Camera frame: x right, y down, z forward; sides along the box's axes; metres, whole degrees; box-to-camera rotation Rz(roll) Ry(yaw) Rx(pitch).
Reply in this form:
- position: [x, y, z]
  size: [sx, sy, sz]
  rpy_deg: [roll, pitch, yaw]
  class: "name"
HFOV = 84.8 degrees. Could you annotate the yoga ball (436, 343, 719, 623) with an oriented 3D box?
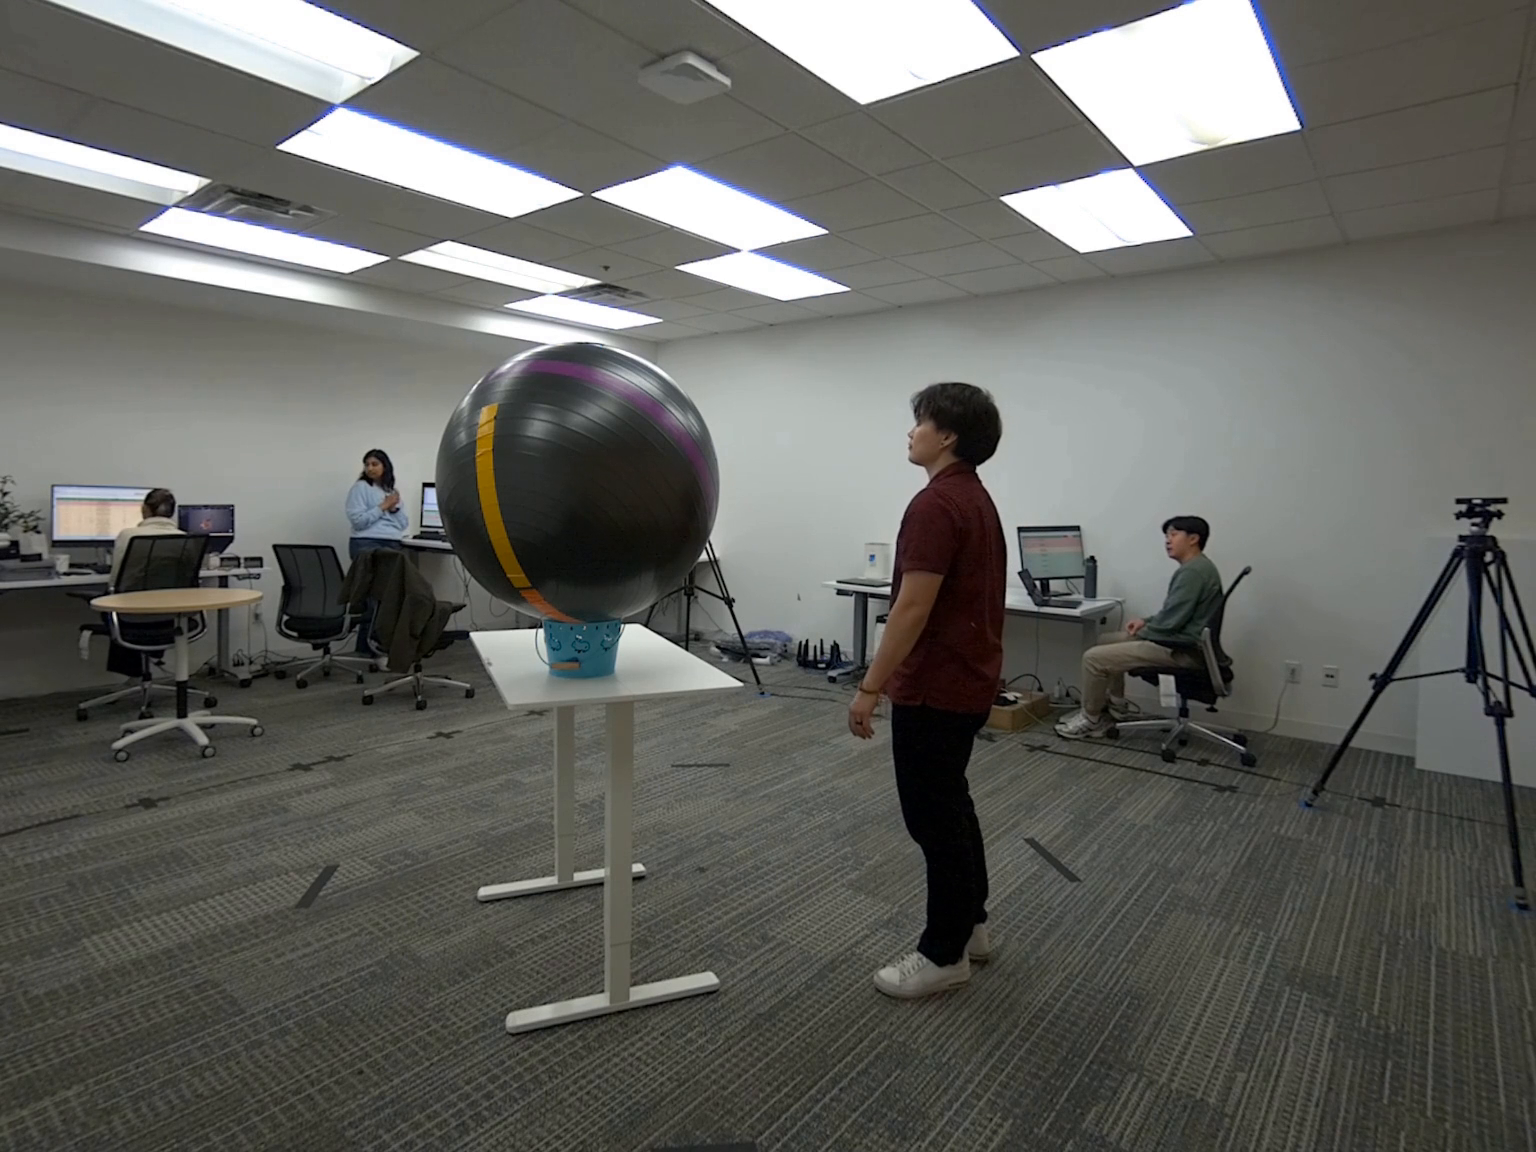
- position: [-0.527, -0.241, 2.305]
  size: [0.757, 0.756, 0.762]
  rpy_deg: [1, 4, -2]
  class: "yoga ball"
